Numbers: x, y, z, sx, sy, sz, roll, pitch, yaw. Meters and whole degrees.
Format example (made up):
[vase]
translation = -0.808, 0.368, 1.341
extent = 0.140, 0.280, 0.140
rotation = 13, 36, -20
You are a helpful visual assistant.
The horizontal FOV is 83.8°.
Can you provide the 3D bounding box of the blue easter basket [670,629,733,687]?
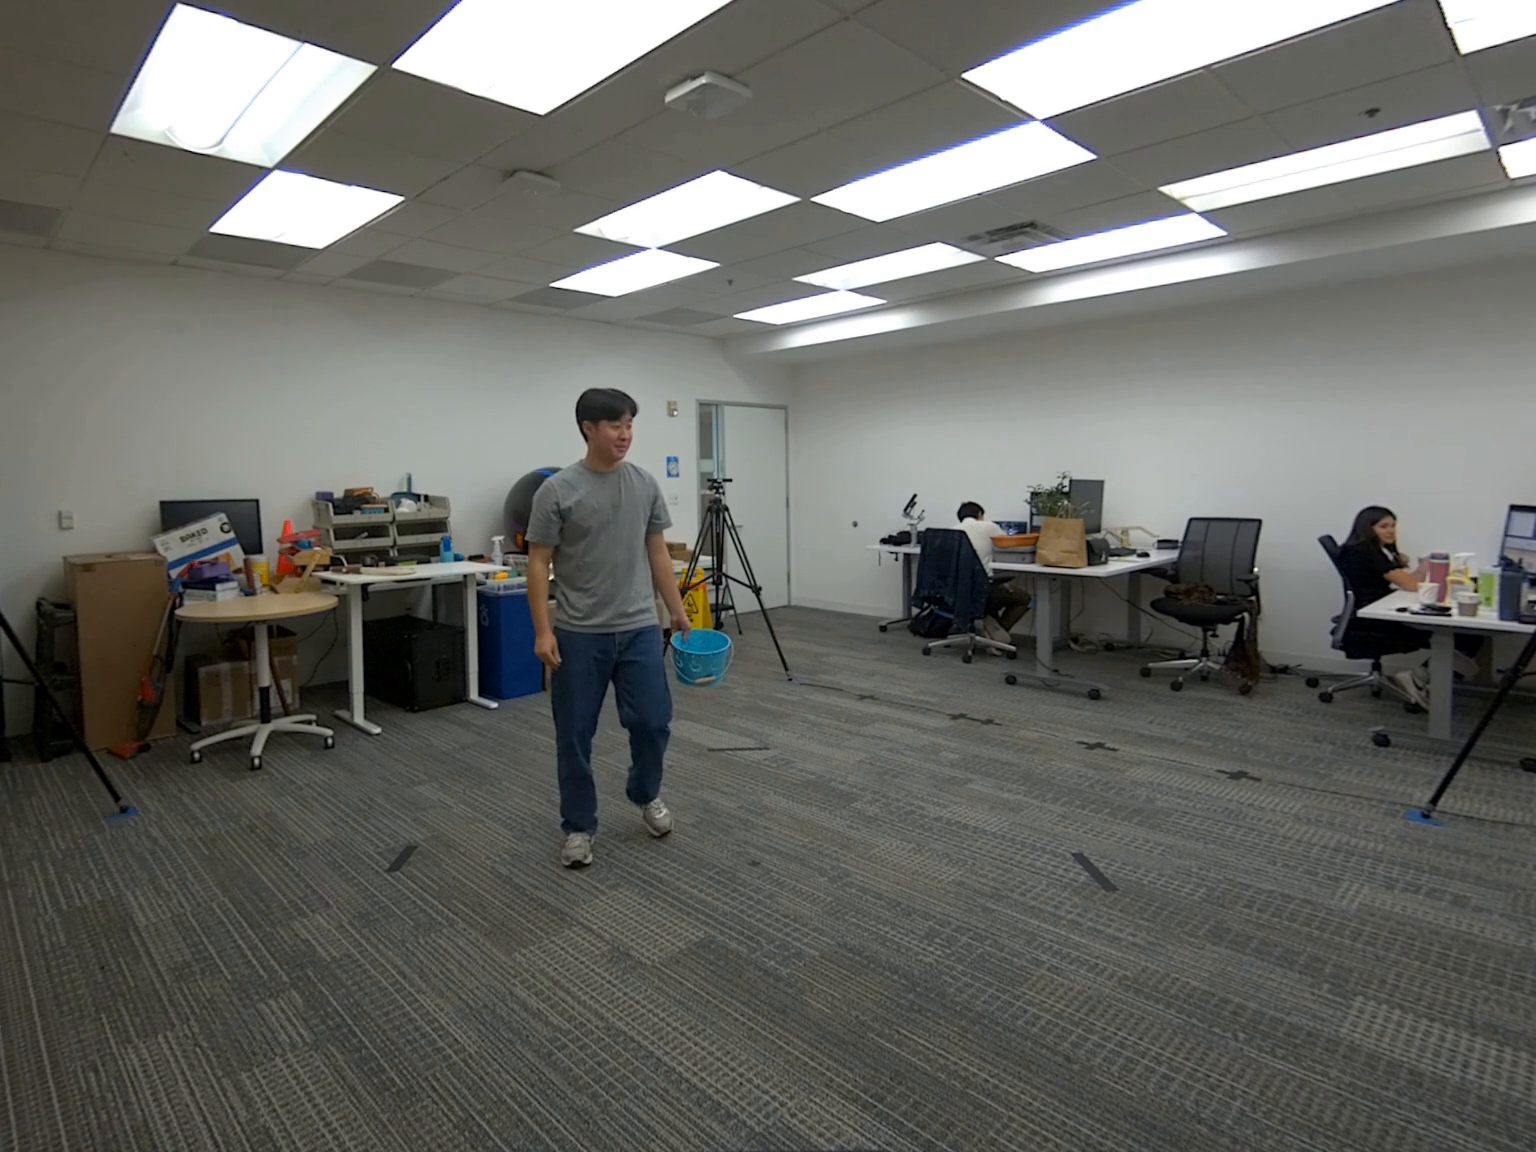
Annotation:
[blue easter basket]
translation = -0.266, 0.322, 3.272
extent = 0.243, 0.154, 0.247
rotation = 1, 16, -2
